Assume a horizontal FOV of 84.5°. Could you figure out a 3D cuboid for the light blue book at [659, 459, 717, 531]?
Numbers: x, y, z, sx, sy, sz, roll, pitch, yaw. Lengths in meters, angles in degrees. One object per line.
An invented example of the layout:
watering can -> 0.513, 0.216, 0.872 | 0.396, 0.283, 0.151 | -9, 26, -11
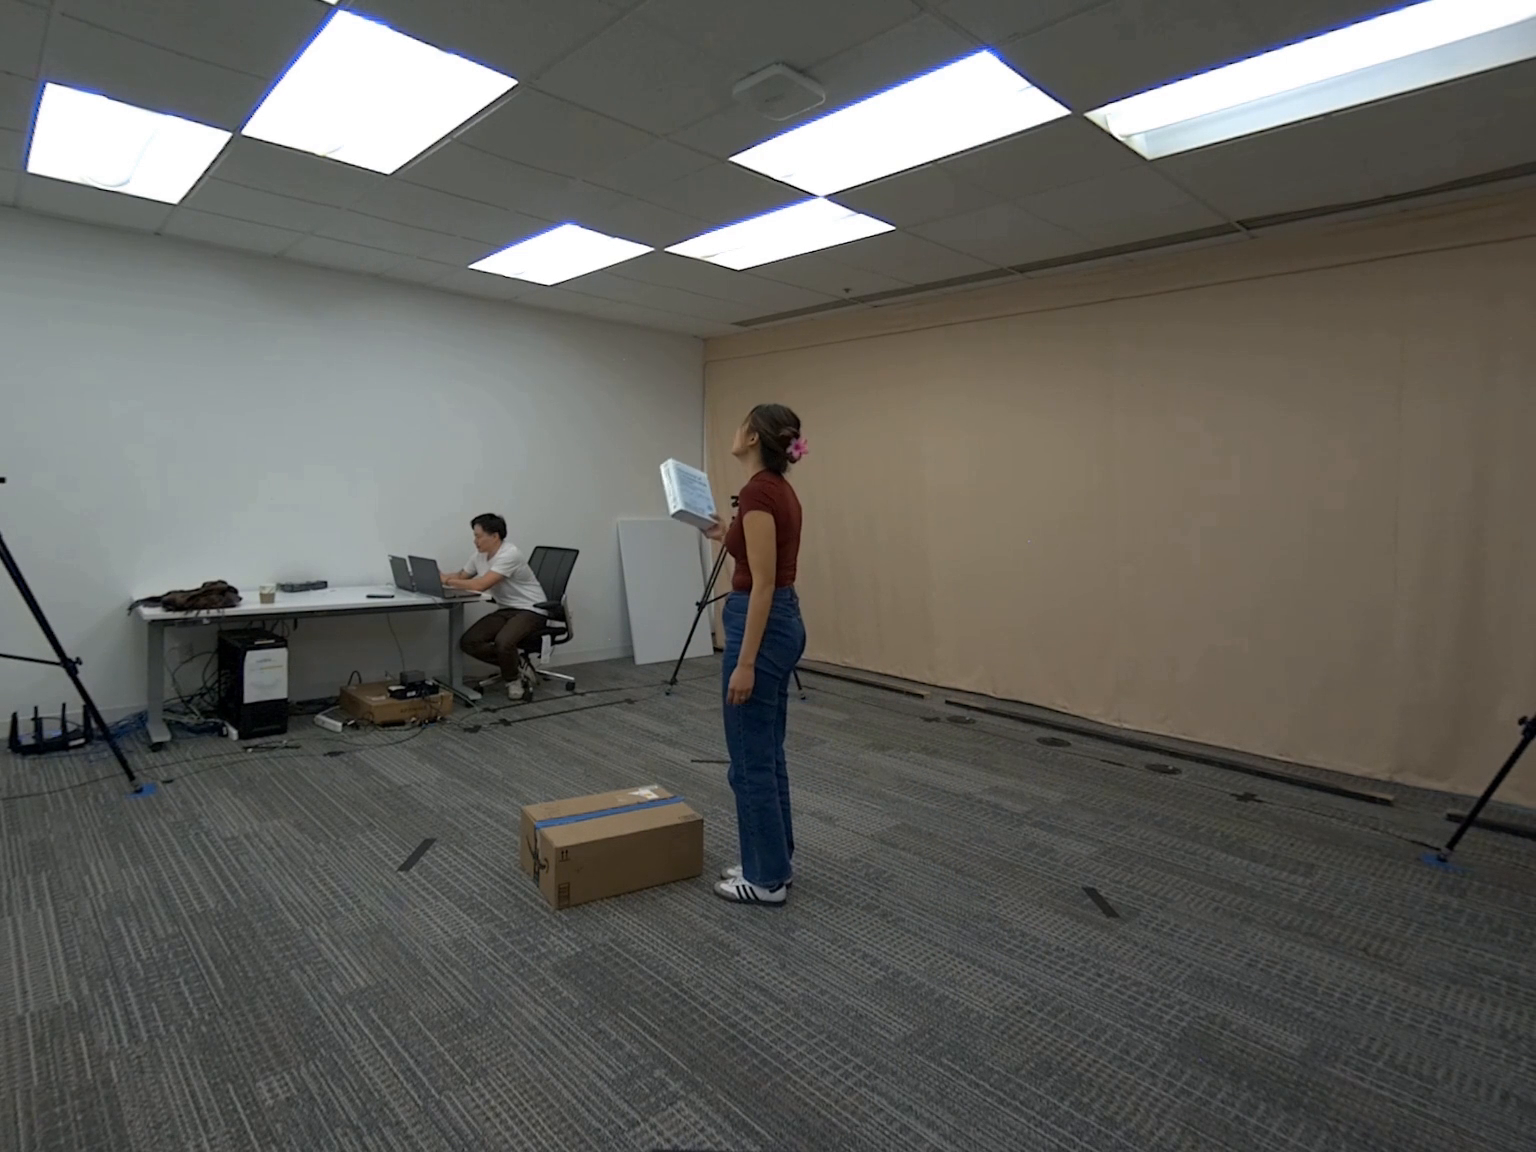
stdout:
light blue book -> -0.314, -0.309, 3.259 | 0.186, 0.268, 0.059 | 20, -48, -40
